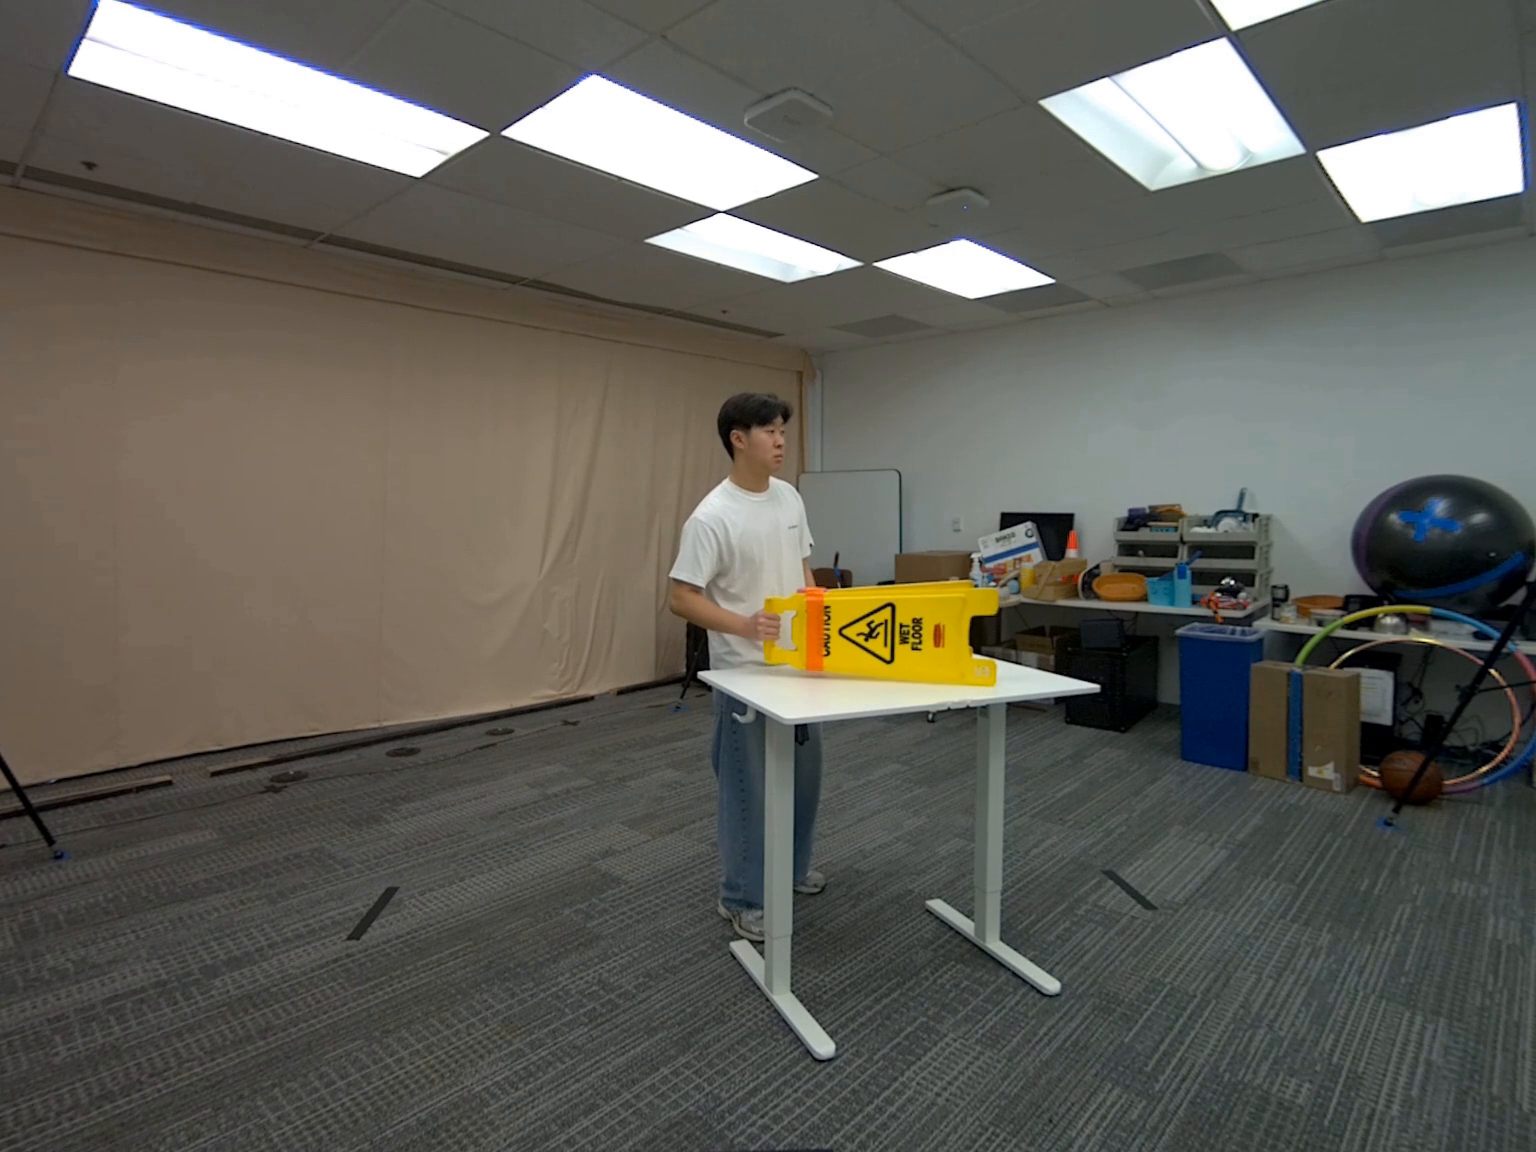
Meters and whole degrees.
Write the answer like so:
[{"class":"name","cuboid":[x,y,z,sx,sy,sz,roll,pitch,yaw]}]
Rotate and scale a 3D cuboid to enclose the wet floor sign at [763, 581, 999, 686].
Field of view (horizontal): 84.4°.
[{"class":"wet floor sign","cuboid":[0.324,0.163,2.474,0.645,0.281,0.291,0,4,-1]}]
